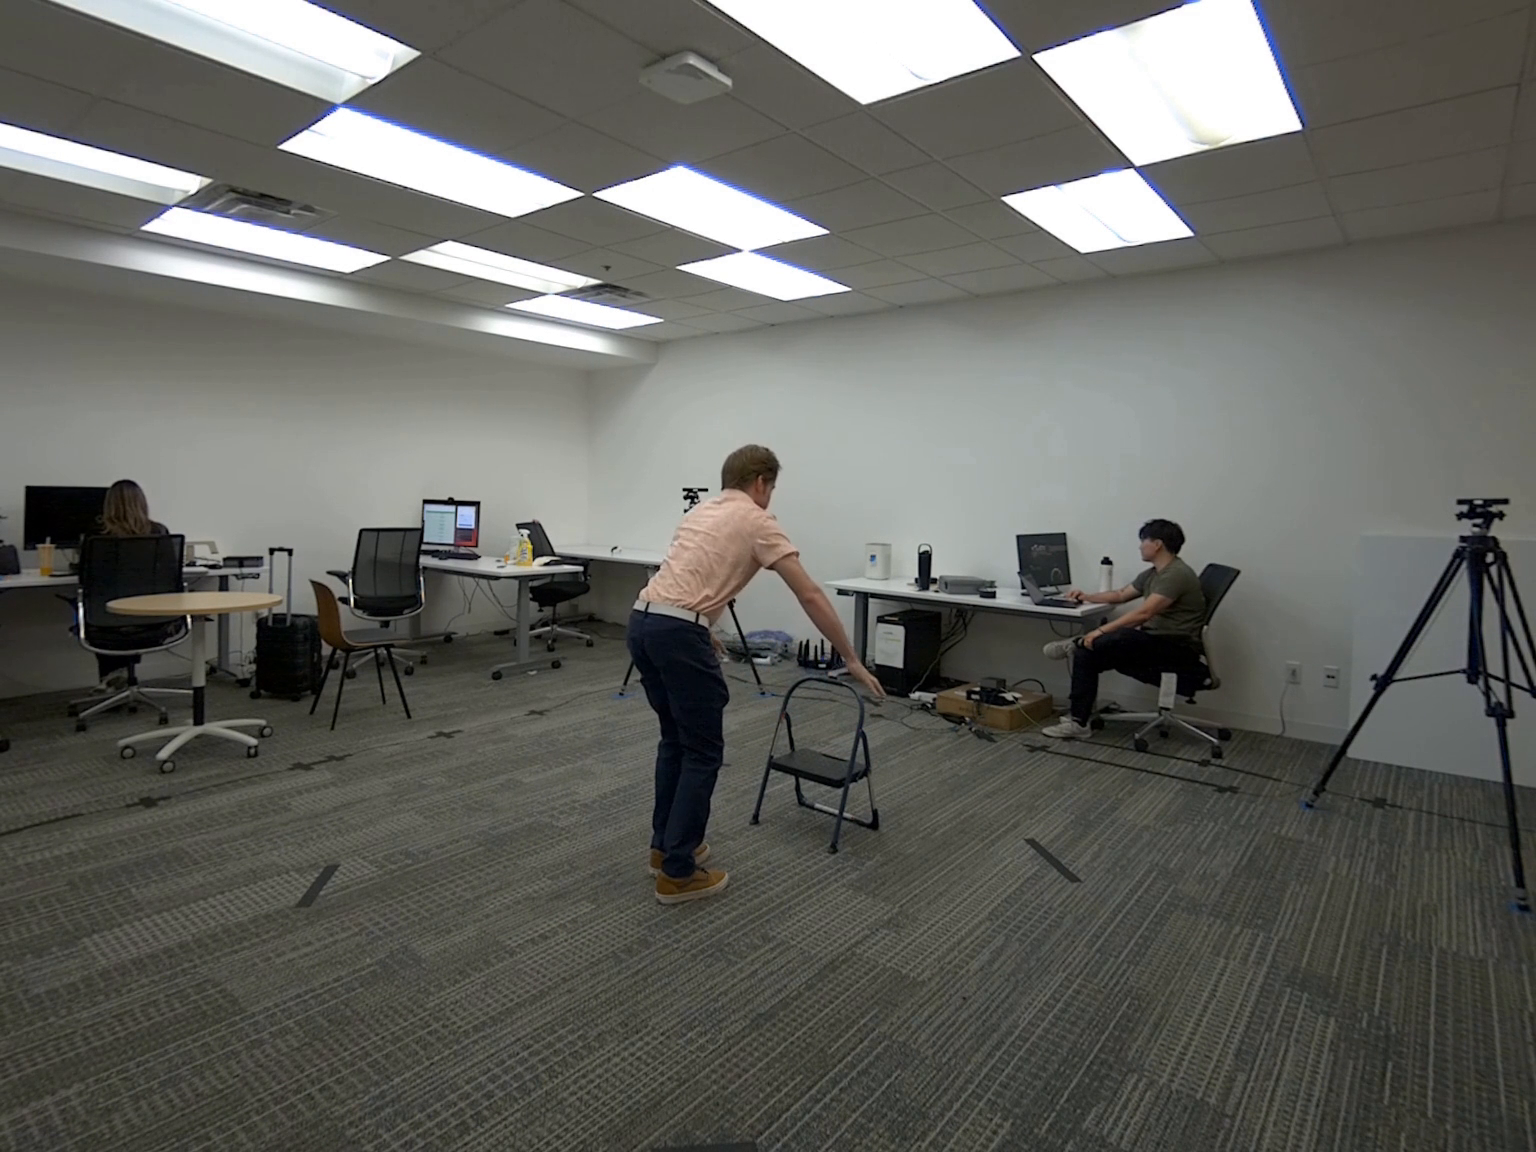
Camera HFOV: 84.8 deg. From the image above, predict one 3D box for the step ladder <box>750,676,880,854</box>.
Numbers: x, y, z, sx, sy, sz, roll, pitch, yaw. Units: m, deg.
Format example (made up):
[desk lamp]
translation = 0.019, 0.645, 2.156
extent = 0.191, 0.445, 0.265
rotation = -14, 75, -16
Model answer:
[step ladder]
translation = 0.194, 0.735, 3.520
extent = 0.445, 0.604, 0.339
rotation = 5, 4, 40
